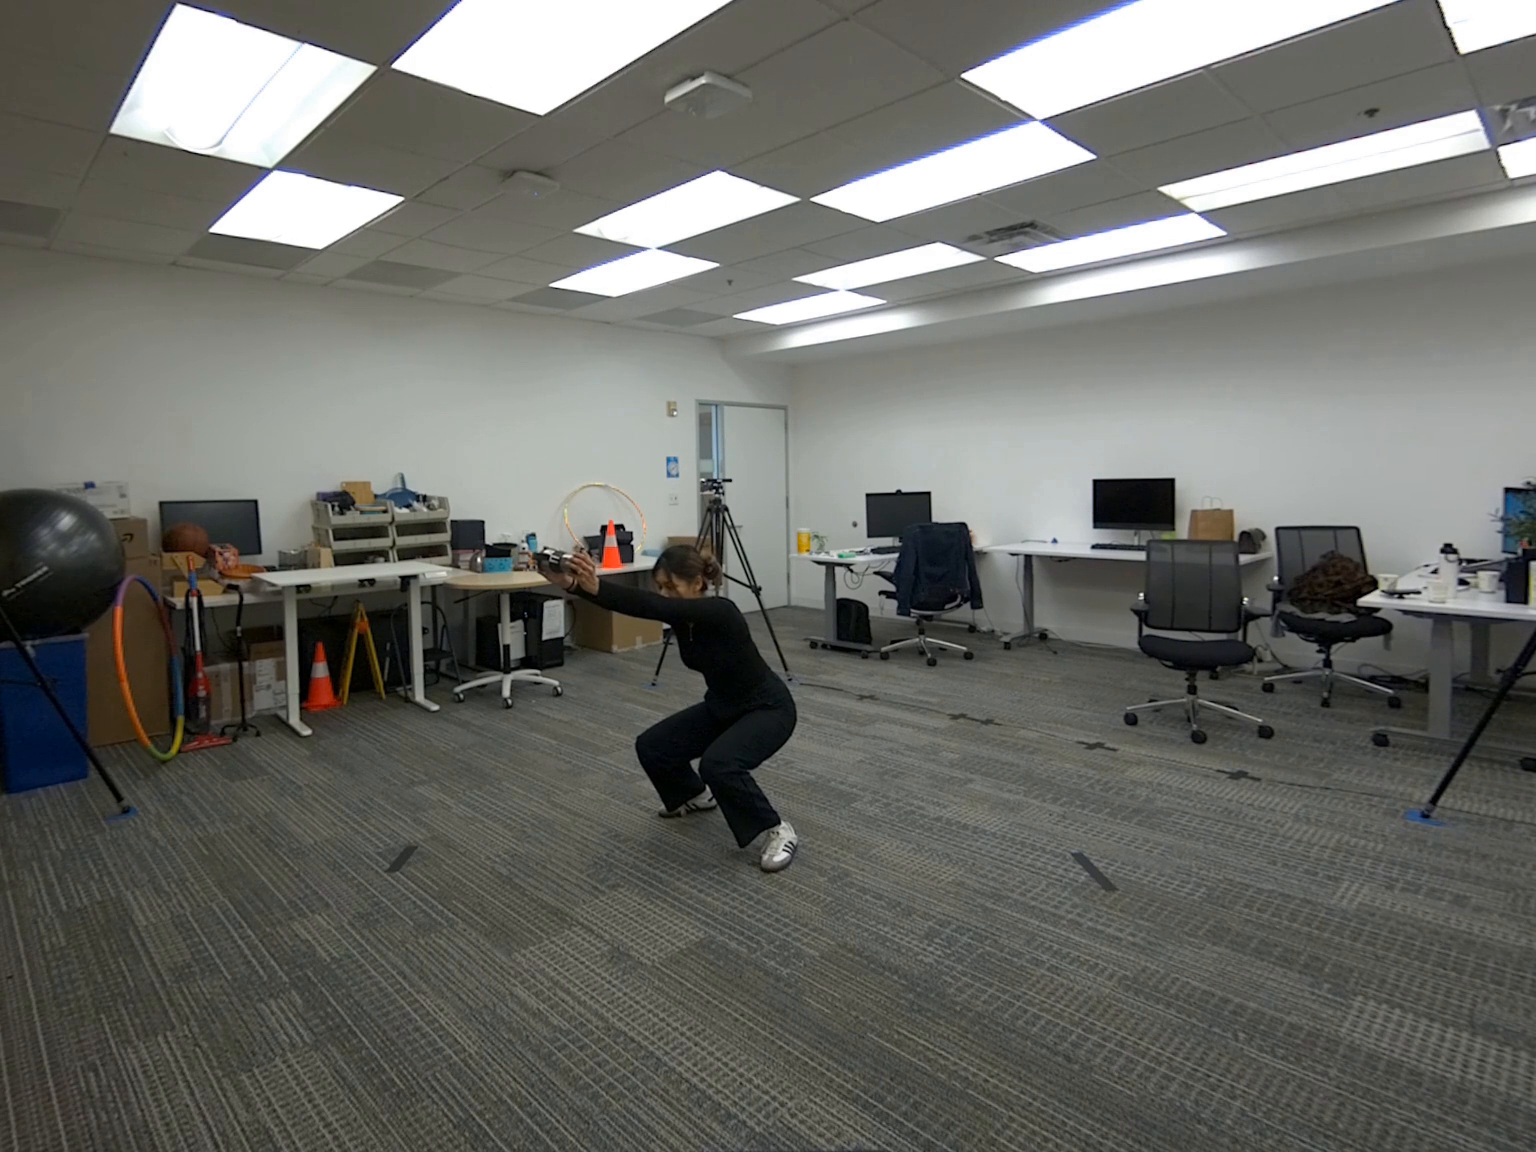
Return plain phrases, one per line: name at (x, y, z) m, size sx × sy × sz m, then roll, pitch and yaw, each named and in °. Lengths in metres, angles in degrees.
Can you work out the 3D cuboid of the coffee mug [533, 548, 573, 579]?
coffee mug at (-0.694, -0.041, 2.846) m, size 0.119 × 0.087 × 0.209 m, roll -12°, pitch 12°, yaw -36°
